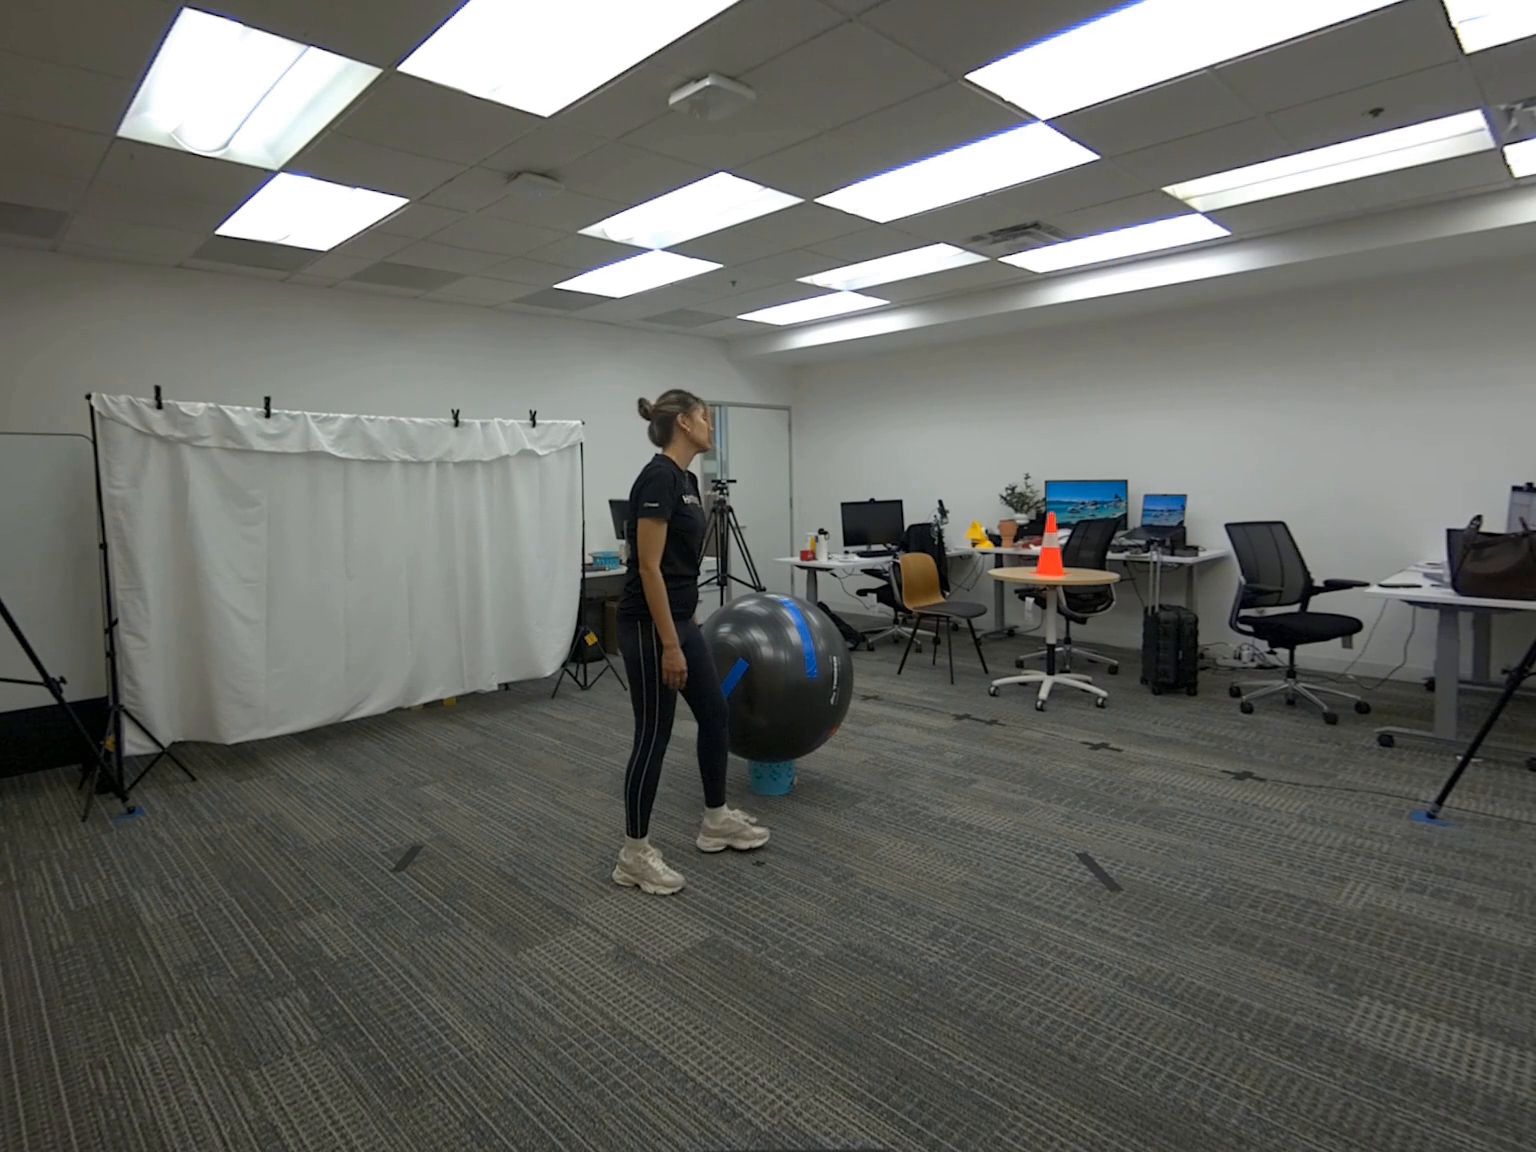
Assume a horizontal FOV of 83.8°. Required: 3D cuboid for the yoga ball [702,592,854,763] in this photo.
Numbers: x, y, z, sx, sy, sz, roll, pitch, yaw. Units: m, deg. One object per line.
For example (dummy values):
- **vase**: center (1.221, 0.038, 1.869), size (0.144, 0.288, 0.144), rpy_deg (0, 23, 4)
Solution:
- **yoga ball**: center (0.002, 0.454, 3.854), size (0.757, 0.755, 0.762), rpy_deg (-1, 5, -2)
